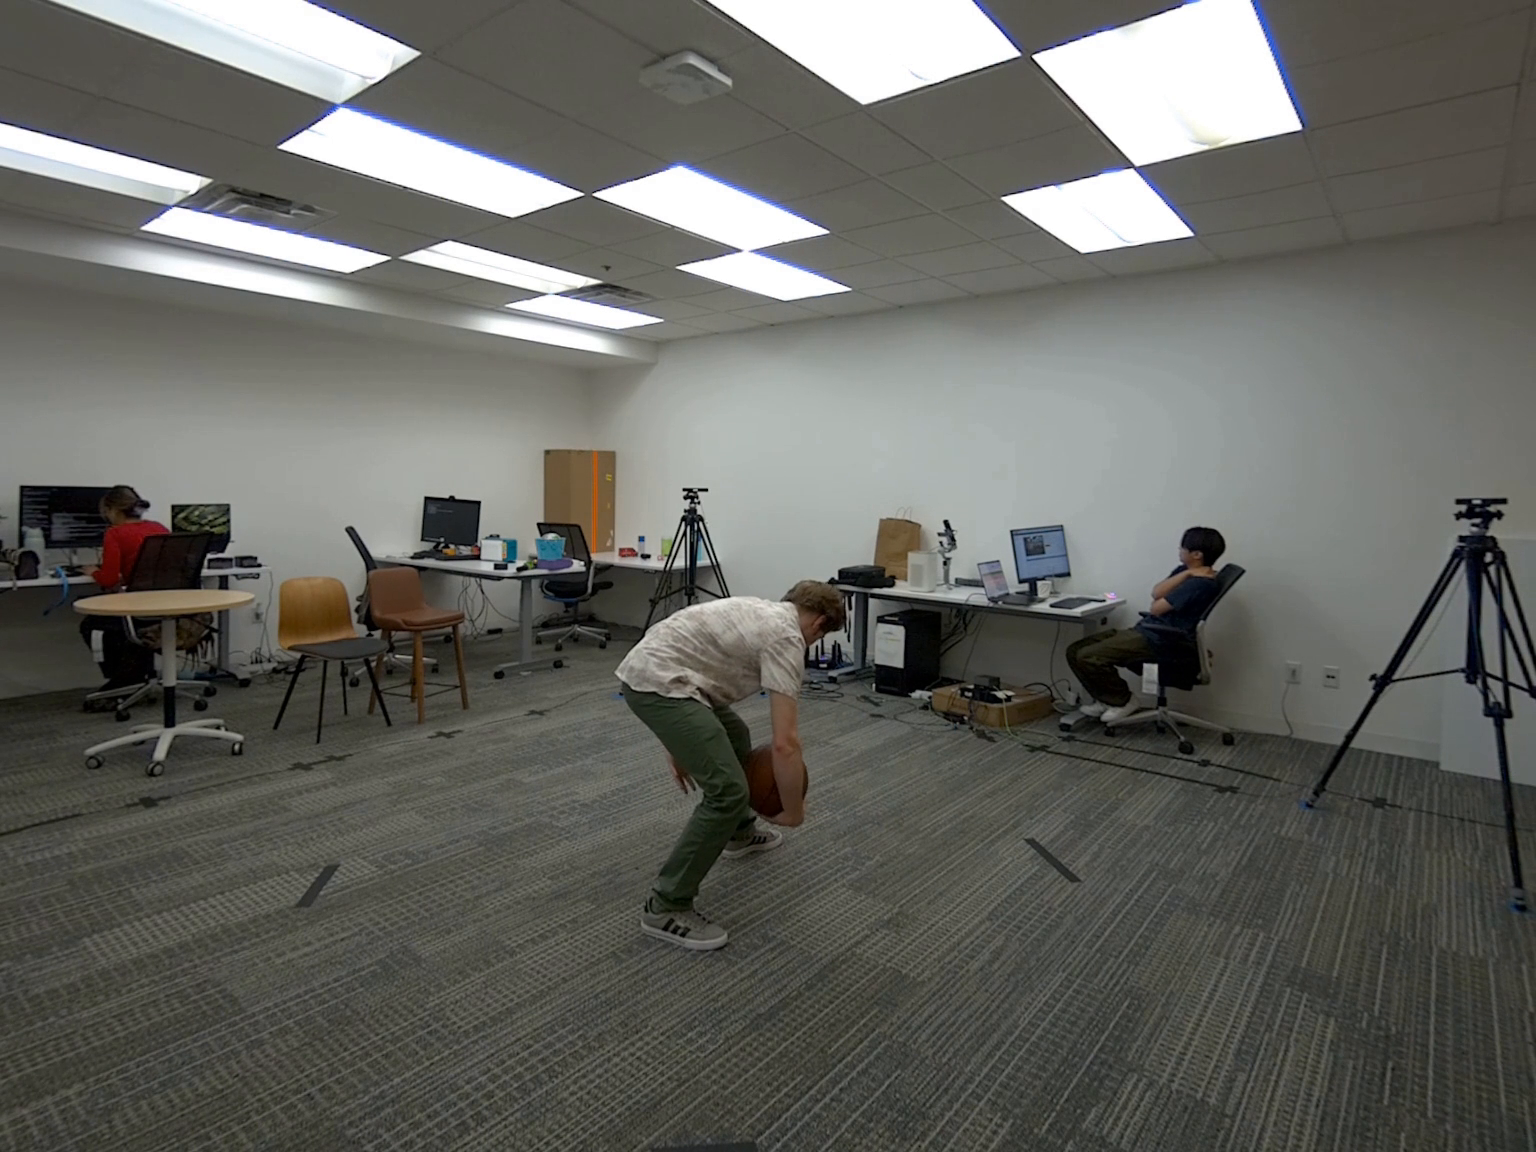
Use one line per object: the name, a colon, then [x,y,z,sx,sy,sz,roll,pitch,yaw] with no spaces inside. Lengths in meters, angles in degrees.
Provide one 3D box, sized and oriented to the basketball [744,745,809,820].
basketball: [0.009,0.687,2.886,0.235,0.235,0.237,1,4,-2]
